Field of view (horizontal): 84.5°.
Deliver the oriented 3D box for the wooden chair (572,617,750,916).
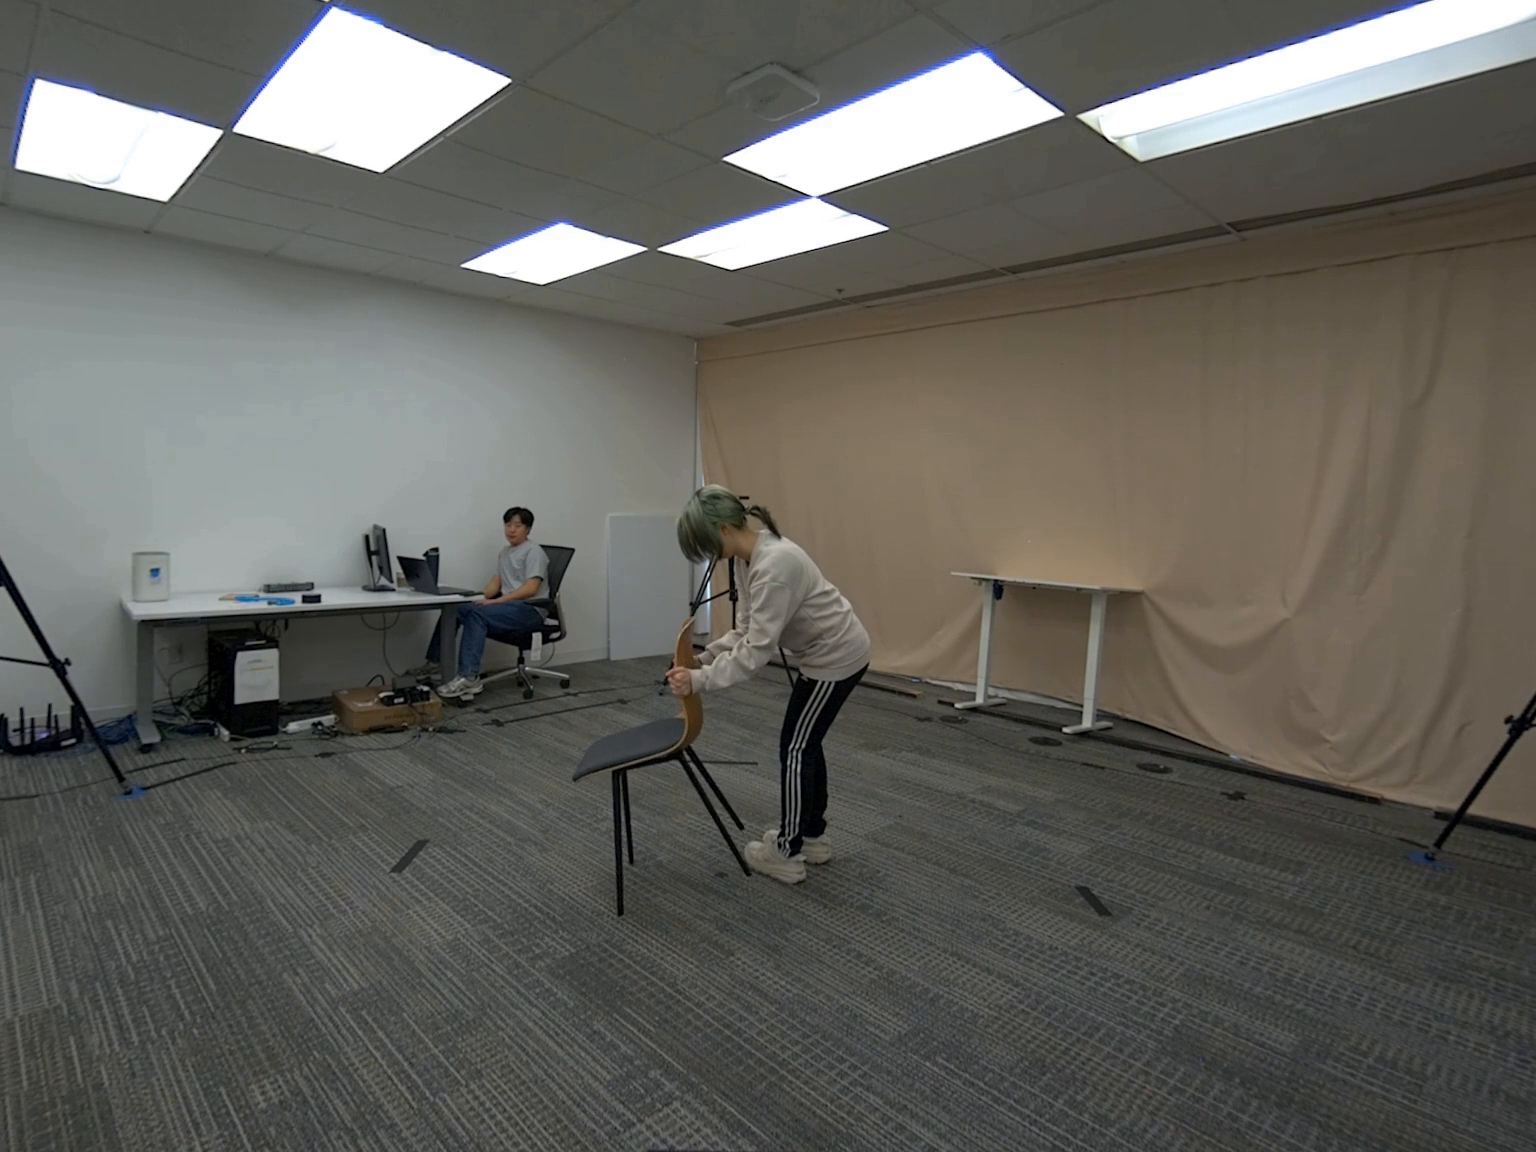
[{"bbox_3d":[-0.421,0.634,2.947,0.522,0.876,0.480,-12,2,-3],"label":"wooden chair"}]
